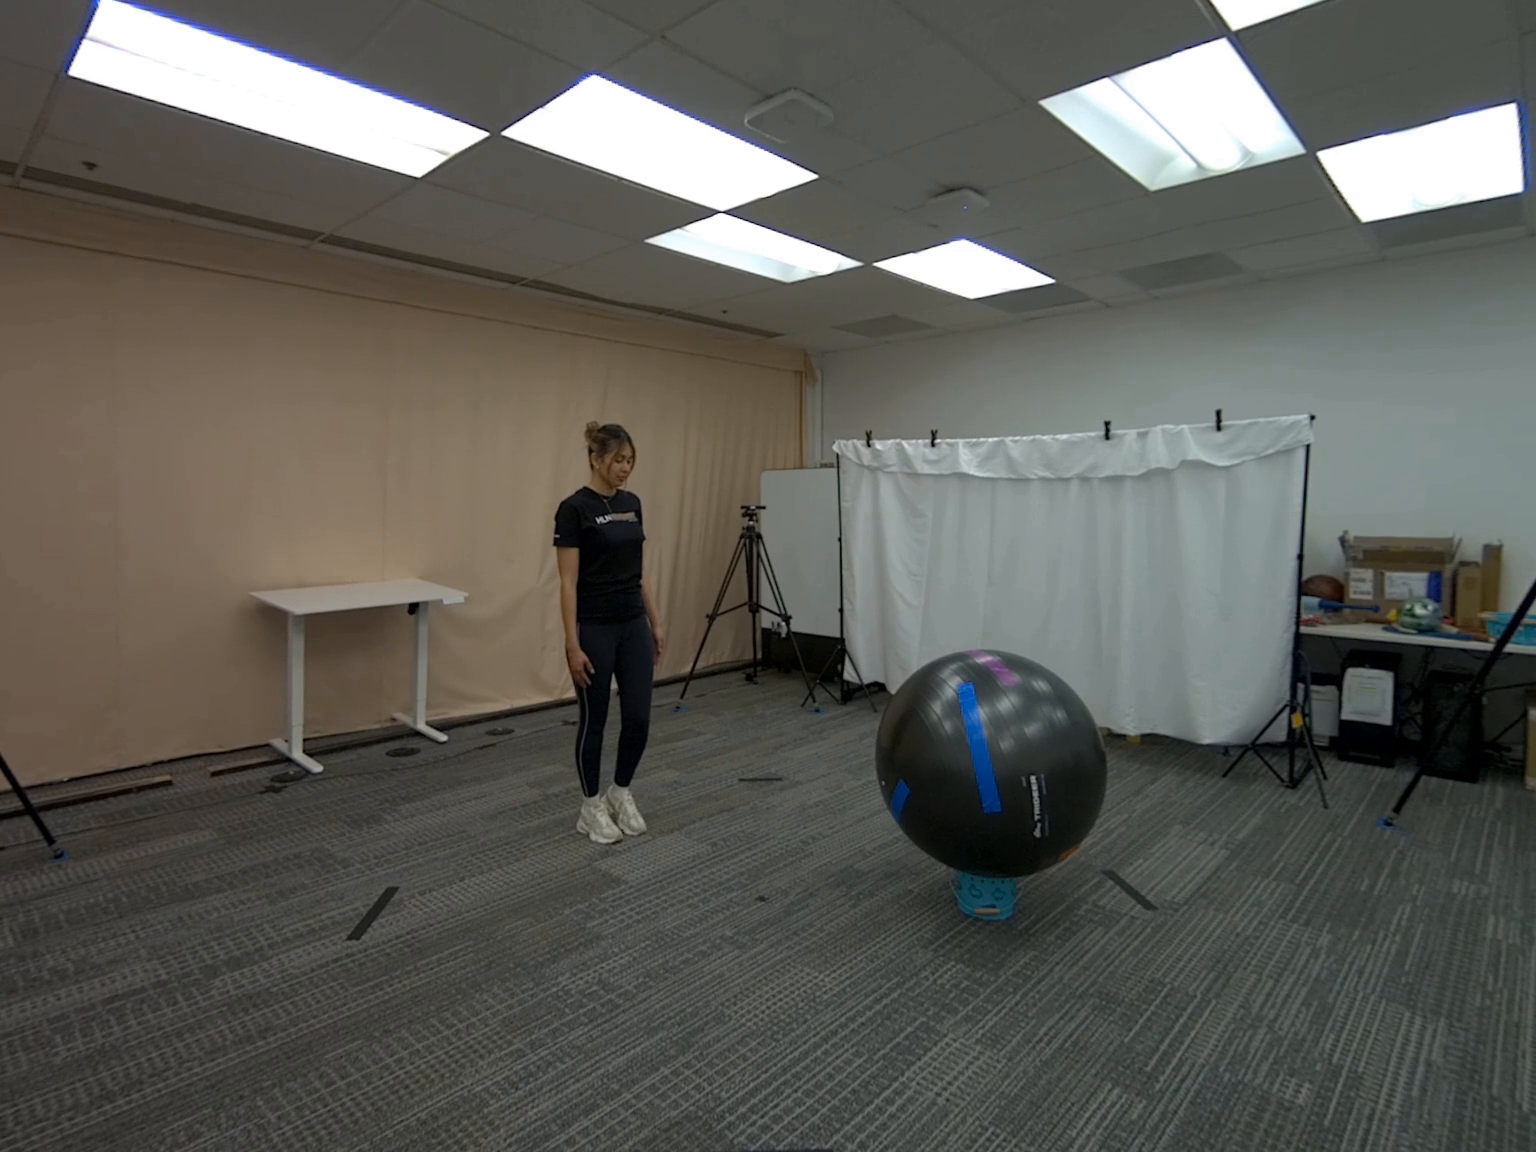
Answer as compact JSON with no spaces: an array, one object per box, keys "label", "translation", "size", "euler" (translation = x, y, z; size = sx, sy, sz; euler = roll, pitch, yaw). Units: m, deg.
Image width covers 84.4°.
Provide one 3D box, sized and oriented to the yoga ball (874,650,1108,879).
[{"label":"yoga ball","translation":[0.763,0.638,2.901],"size":[0.757,0.756,0.761],"euler":[0,4,-2]}]
